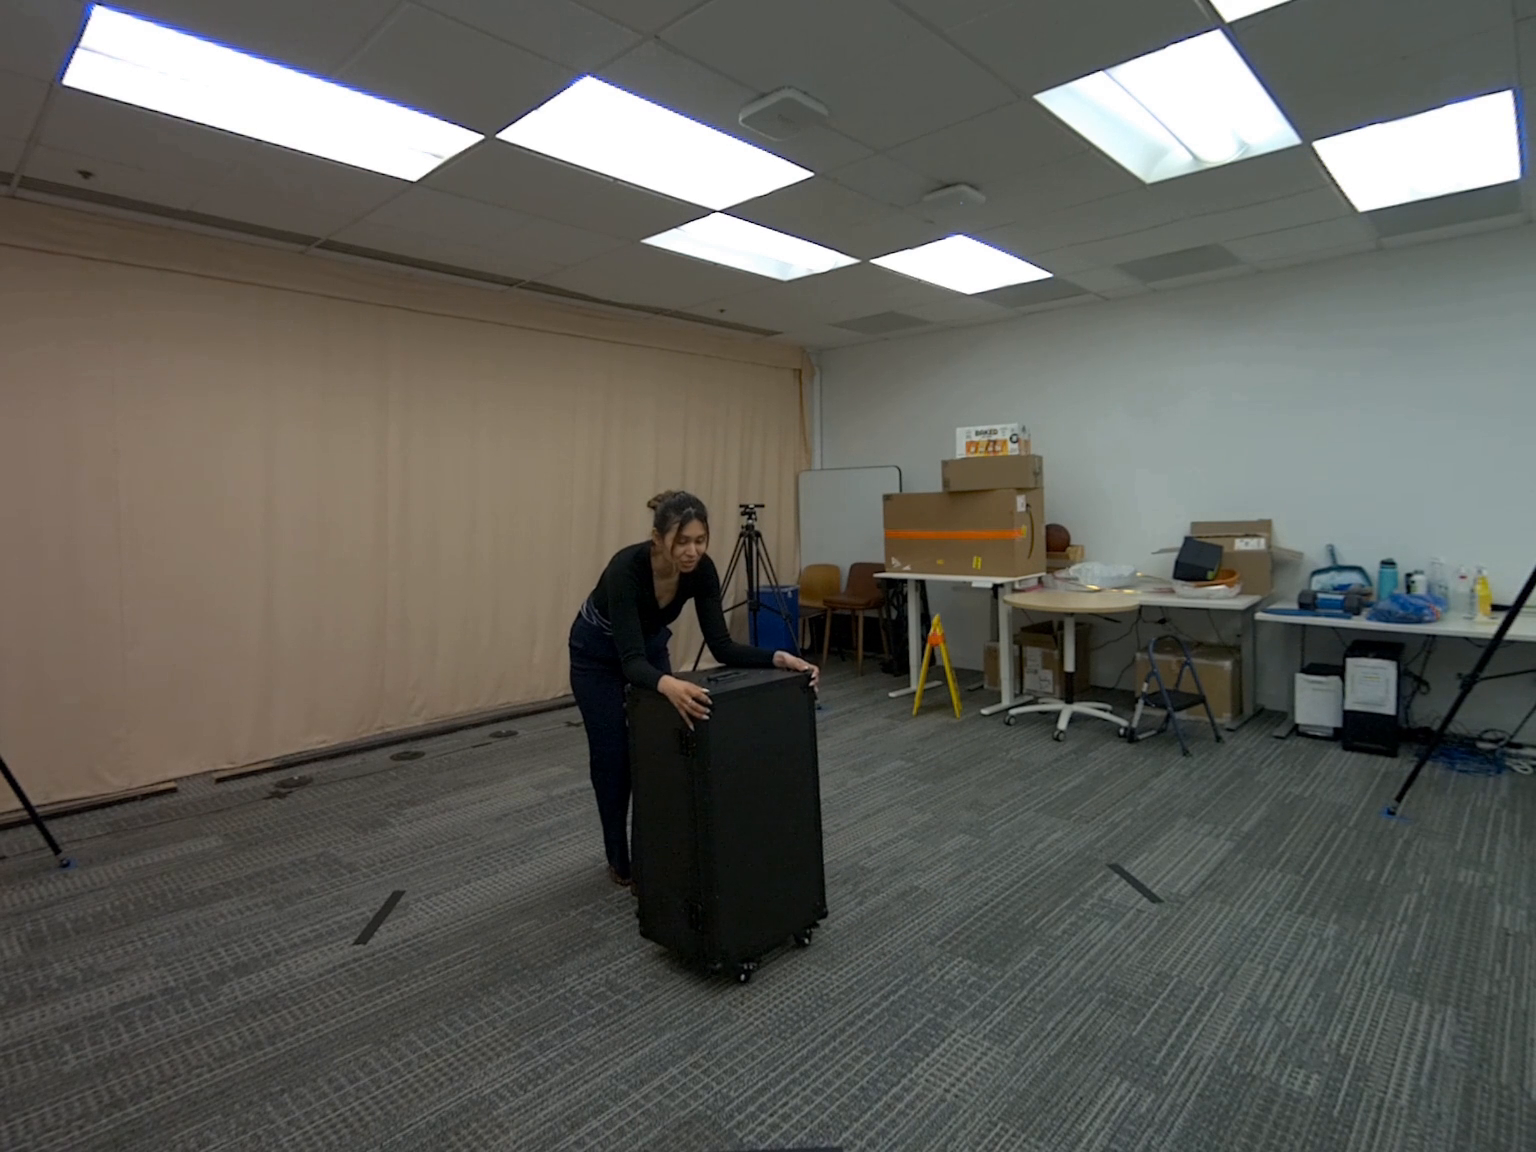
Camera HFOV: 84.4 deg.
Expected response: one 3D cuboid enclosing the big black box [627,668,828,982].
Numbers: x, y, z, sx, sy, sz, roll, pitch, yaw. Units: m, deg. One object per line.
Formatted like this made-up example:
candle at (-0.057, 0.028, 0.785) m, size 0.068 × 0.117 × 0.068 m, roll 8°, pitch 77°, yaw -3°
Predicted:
big black box at (-0.132, 0.746, 2.630) m, size 0.505 × 0.861 × 0.409 m, roll -5°, pitch 1°, yaw -43°
